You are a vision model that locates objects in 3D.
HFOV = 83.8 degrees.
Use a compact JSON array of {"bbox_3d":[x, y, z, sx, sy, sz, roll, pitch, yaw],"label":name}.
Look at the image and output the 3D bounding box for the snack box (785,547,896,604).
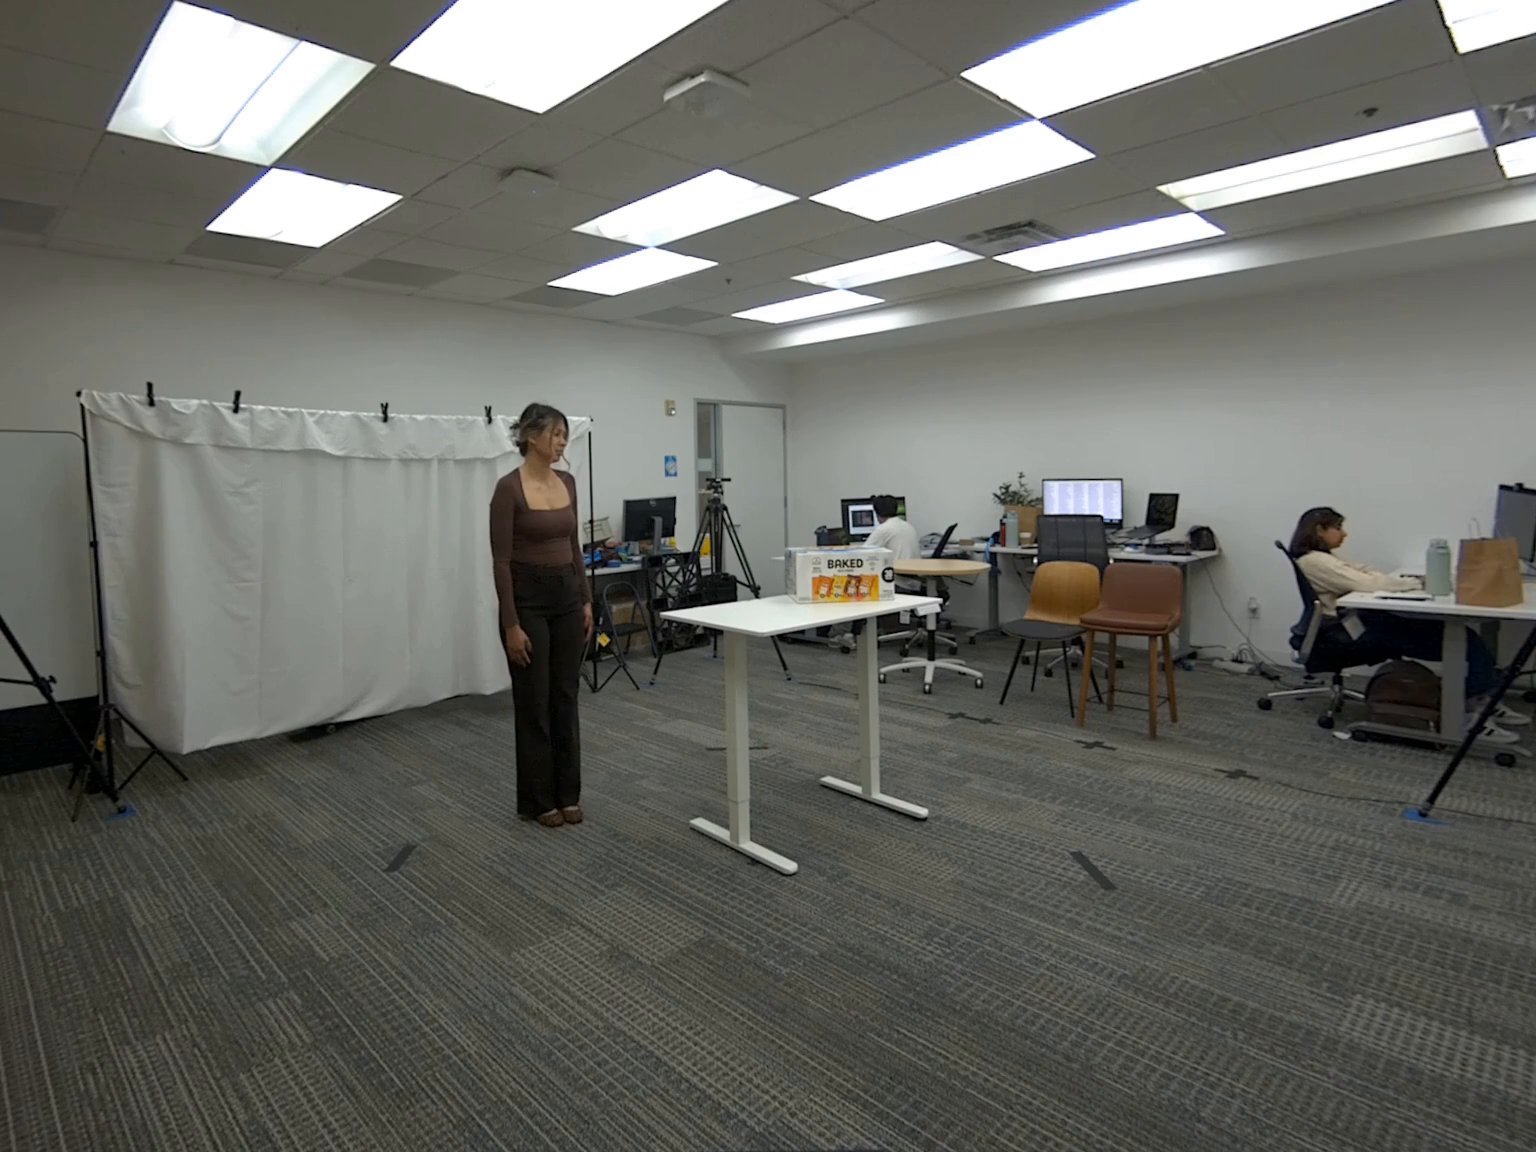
[{"bbox_3d":[0.294,-0.013,3.642,0.403,0.205,0.343,-2,5,-5],"label":"snack box"}]
